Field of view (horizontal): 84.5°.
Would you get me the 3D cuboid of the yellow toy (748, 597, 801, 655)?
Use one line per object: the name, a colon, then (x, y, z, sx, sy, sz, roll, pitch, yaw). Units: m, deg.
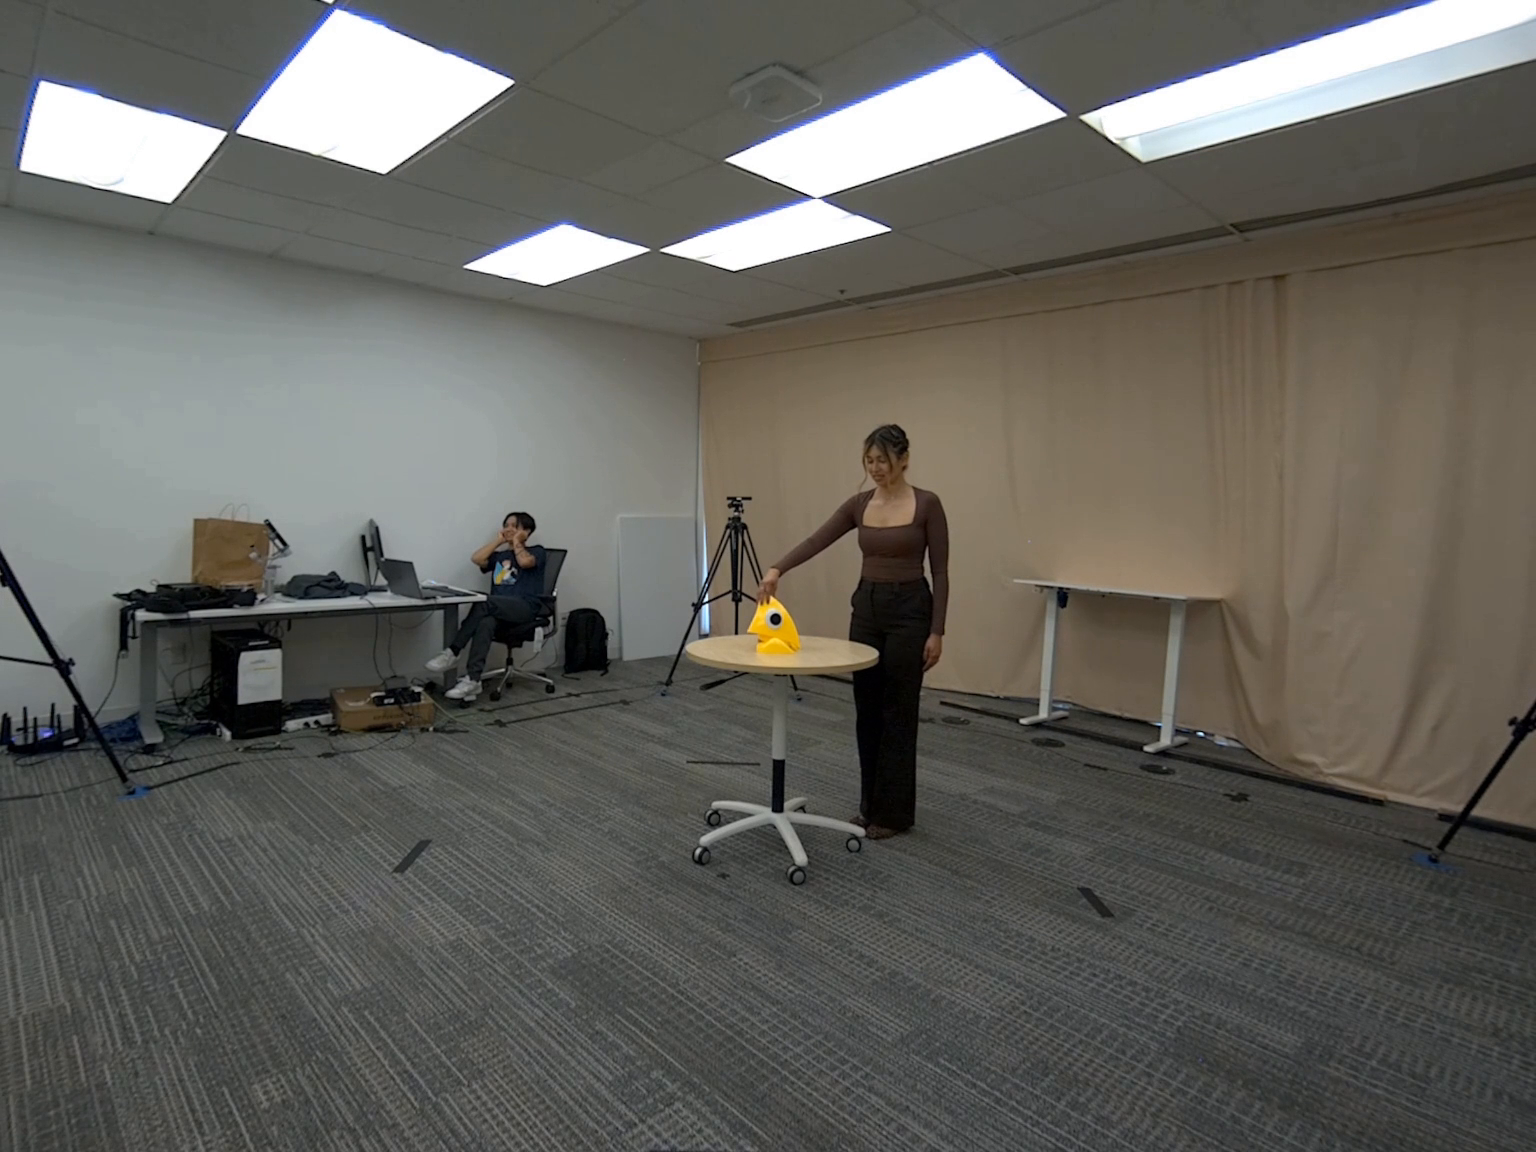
yellow toy: (0.030, 0.178, 3.339, 0.195, 0.230, 0.202, 2, 3, 15)
